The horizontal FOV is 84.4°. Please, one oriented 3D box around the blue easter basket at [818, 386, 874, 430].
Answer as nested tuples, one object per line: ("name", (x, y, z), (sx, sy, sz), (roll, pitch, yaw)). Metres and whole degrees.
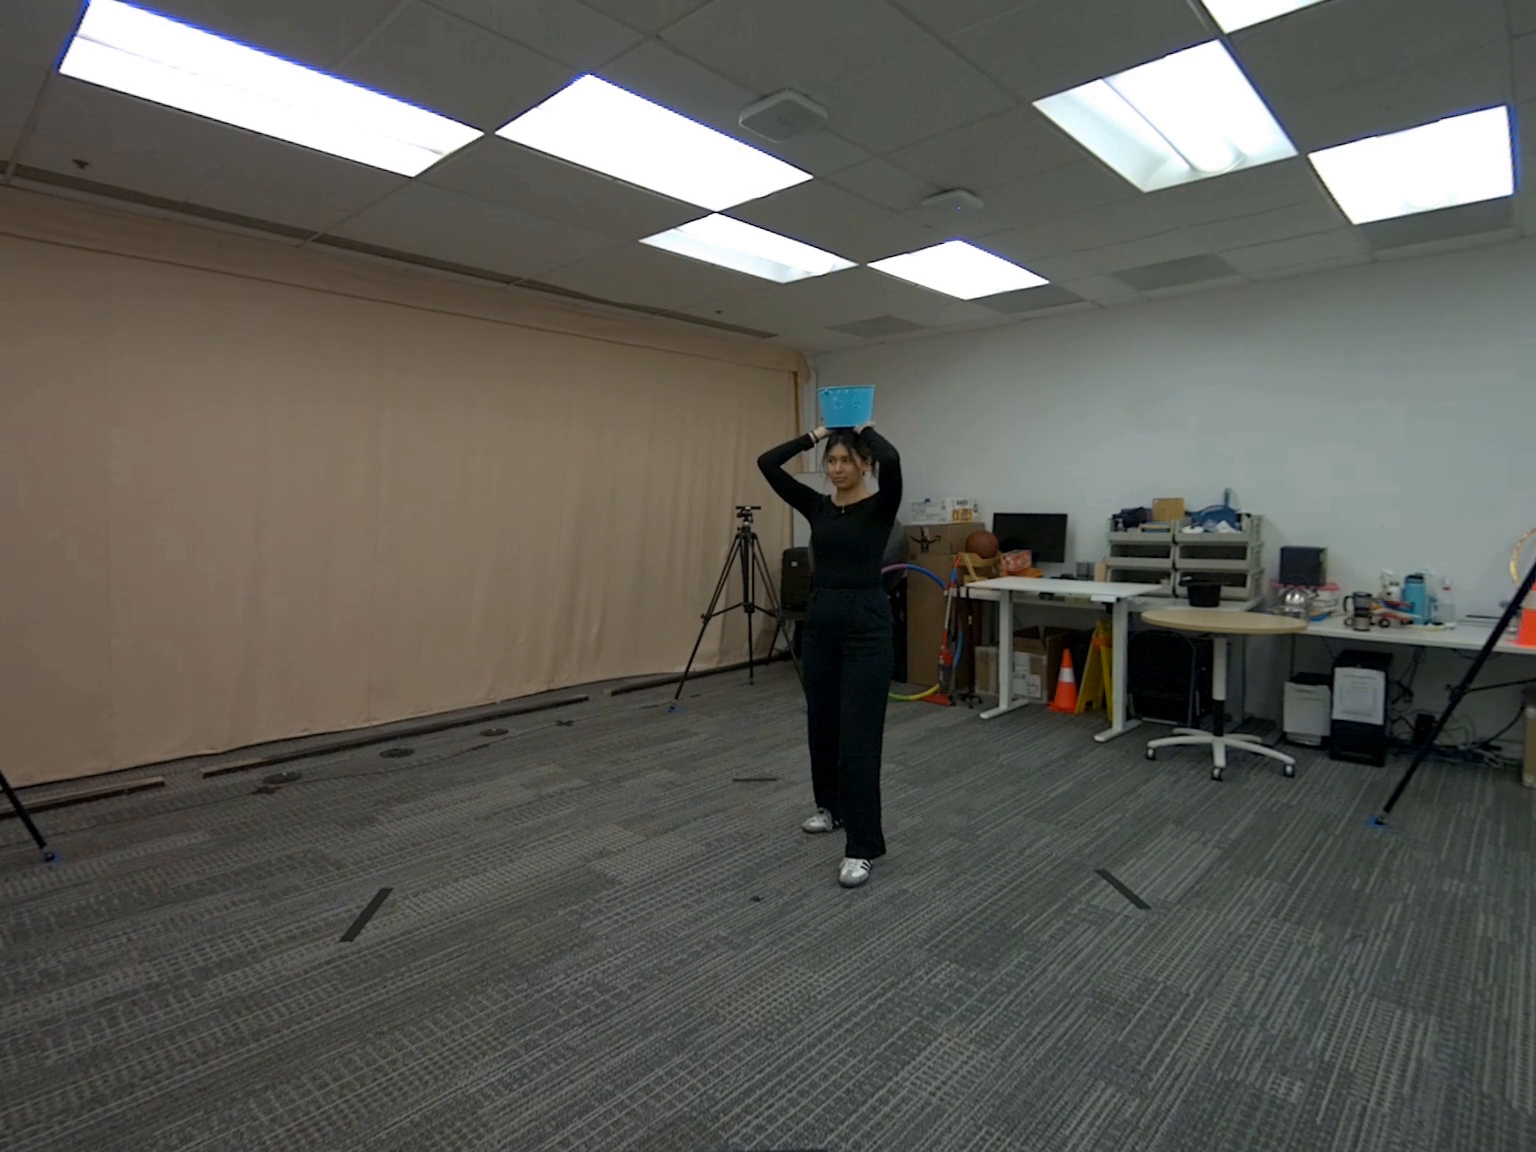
("blue easter basket", (0.317, -0.673, 3.367), (0.243, 0.155, 0.245), (-2, 7, -2))
